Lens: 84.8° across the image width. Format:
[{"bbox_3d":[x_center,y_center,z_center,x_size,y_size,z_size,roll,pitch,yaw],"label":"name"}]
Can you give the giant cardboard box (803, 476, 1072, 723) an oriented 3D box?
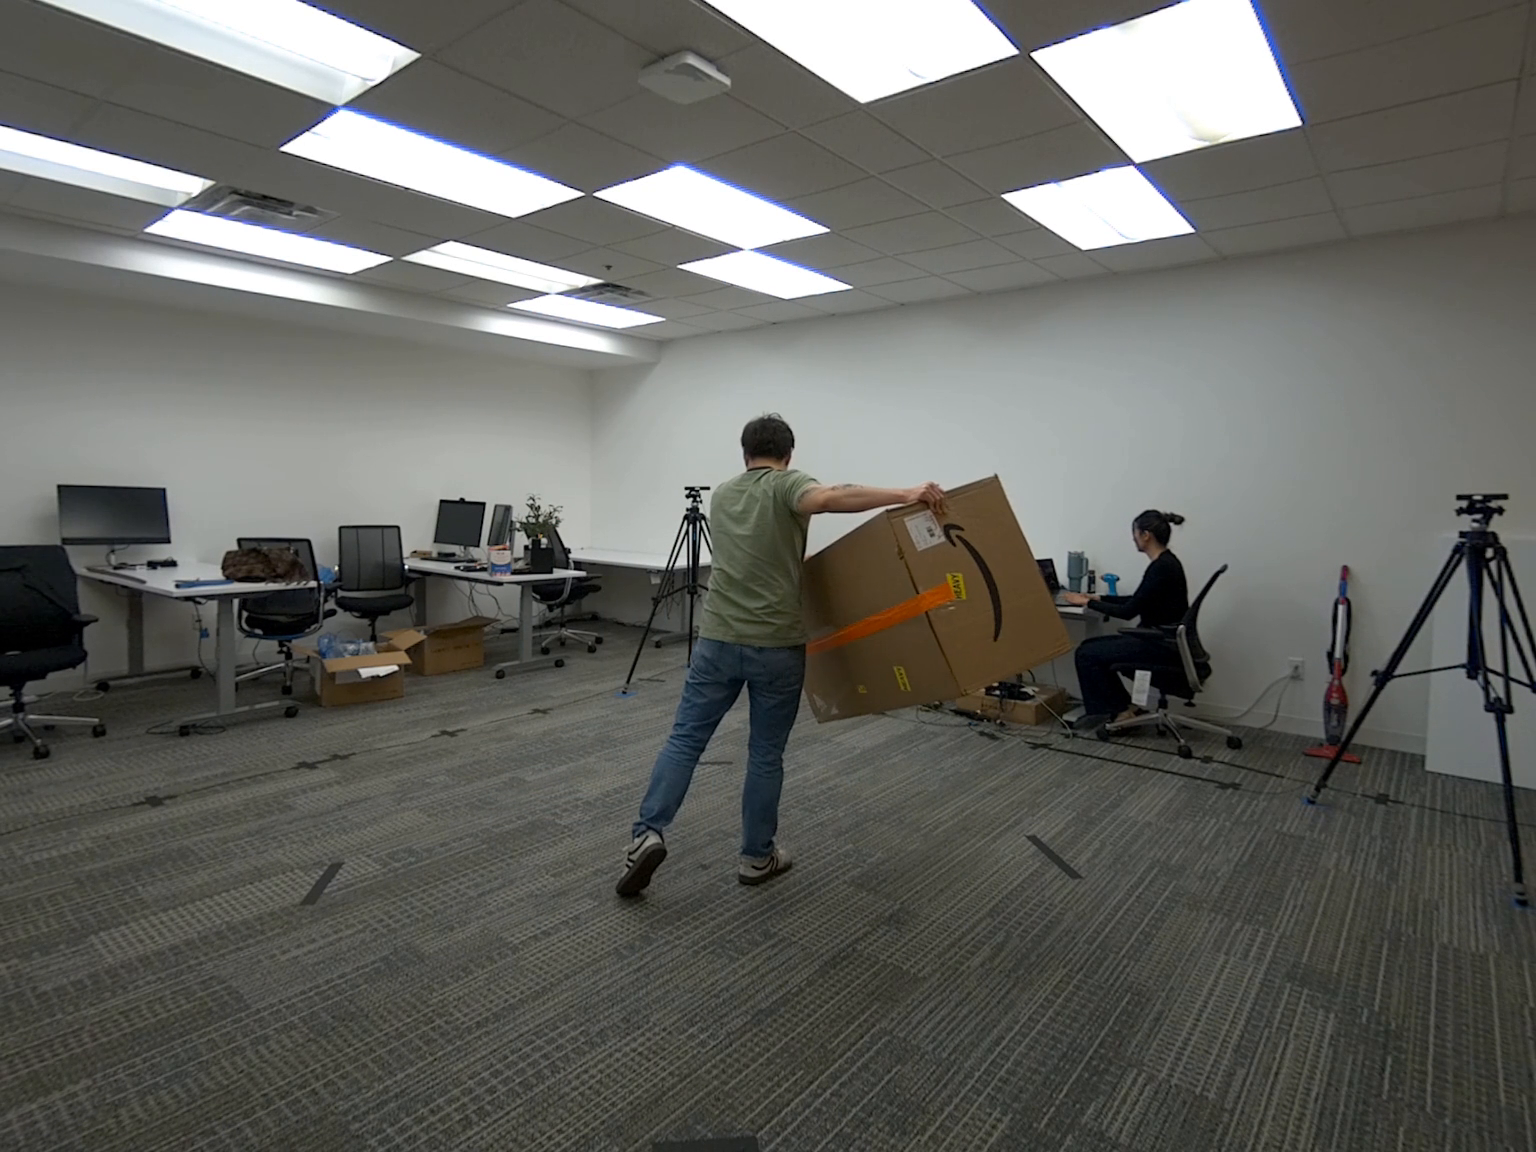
[{"bbox_3d":[0.440,0.132,2.973,0.419,0.583,1.032,-18,-7,-24],"label":"giant cardboard box"}]
